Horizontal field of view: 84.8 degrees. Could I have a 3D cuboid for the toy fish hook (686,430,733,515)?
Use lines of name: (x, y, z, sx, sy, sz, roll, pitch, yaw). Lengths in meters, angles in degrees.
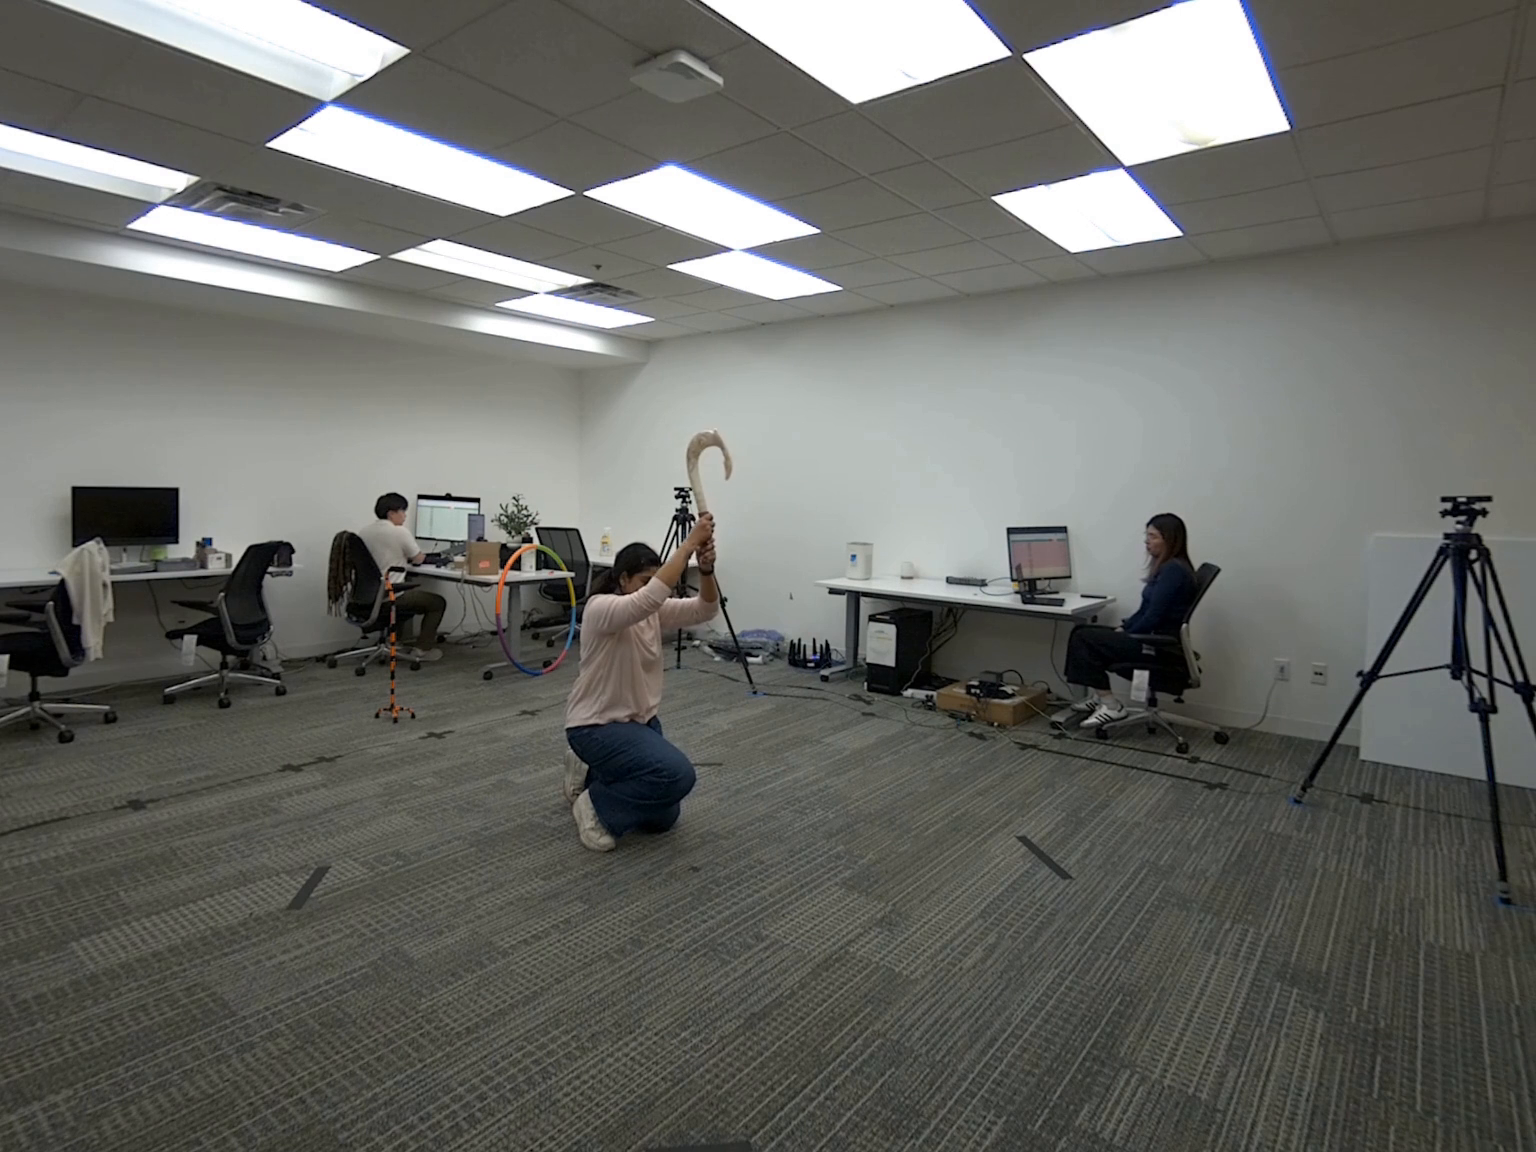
toy fish hook: (-0.233, -0.295, 3.225, 0.232, 0.505, 0.047, -1, 3, 44)
